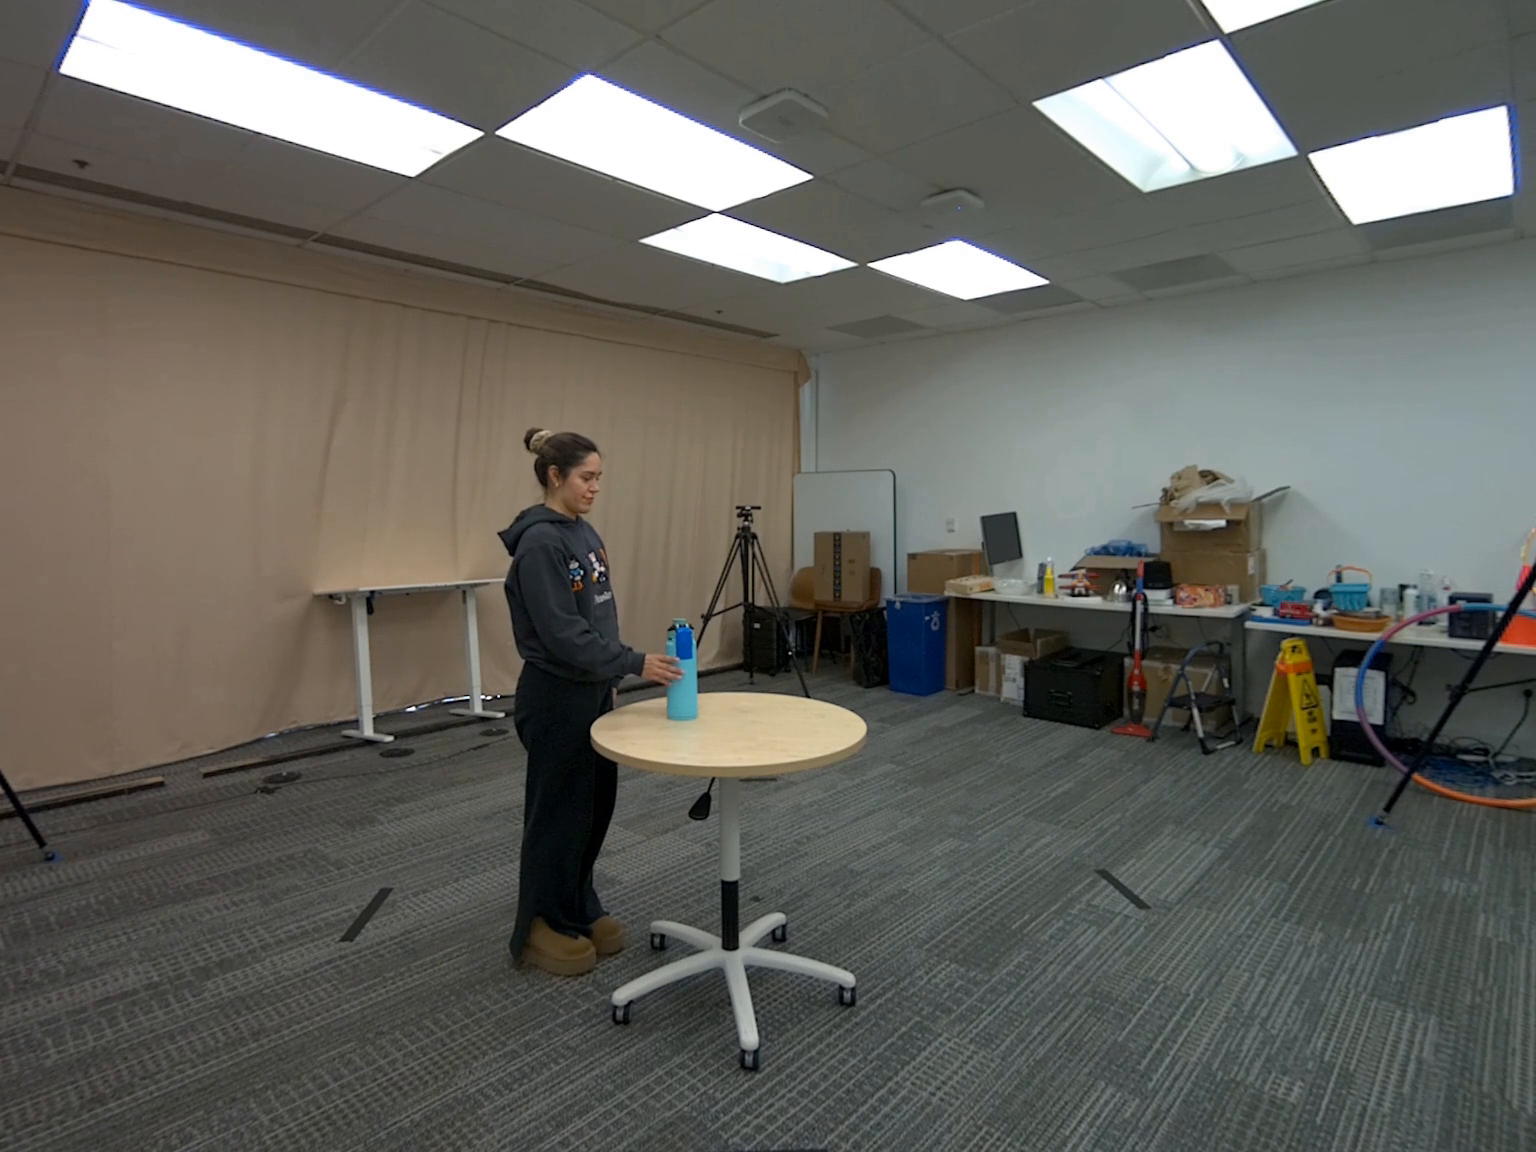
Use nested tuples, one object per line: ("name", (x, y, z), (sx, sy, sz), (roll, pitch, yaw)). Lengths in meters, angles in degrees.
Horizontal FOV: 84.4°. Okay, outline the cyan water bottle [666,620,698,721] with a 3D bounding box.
("cyan water bottle", (-0.245, 0.273, 2.419), (0.092, 0.282, 0.093), (-1, 4, -2))
